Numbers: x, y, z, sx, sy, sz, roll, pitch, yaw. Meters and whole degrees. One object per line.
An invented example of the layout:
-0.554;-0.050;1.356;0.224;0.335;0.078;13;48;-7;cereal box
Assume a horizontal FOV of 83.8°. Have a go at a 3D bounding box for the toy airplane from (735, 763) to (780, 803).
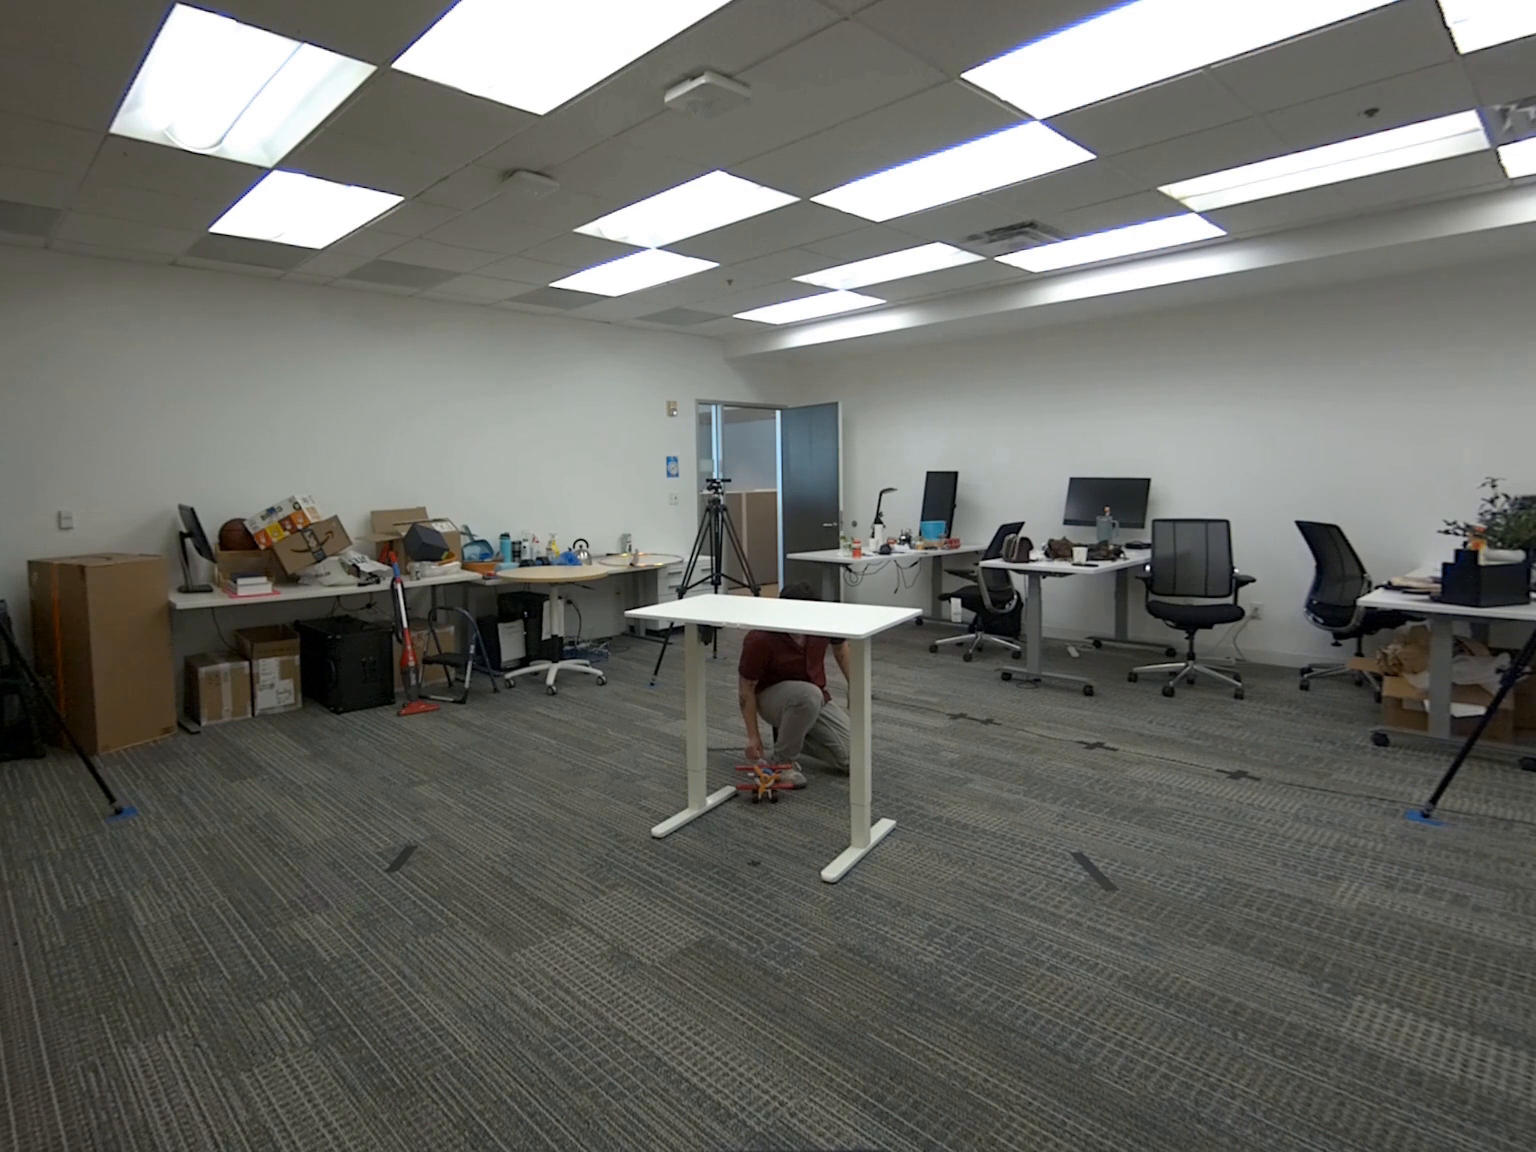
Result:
-0.046;0.896;3.768;0.245;0.156;0.267;-2;6;-30;toy airplane
